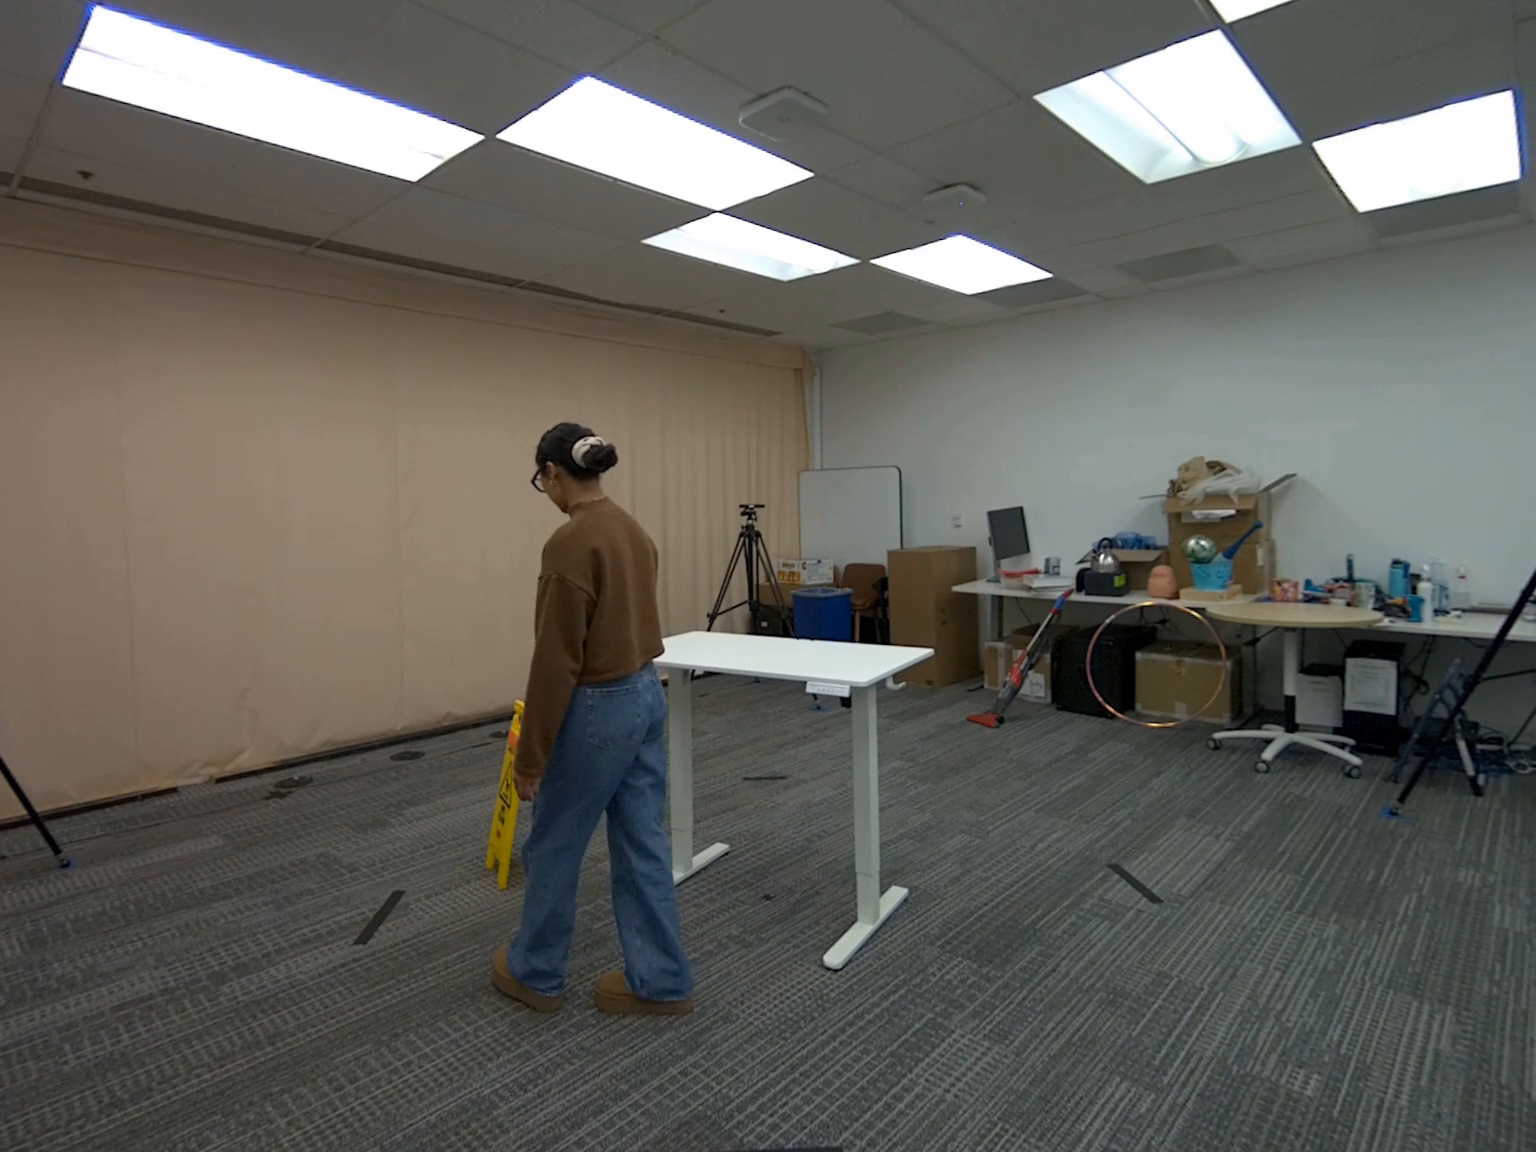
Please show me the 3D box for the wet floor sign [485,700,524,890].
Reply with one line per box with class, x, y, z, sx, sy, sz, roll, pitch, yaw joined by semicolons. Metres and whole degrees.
wet floor sign;-0.943;0.819;3.256;0.282;0.645;0.290;-3;3;-29
